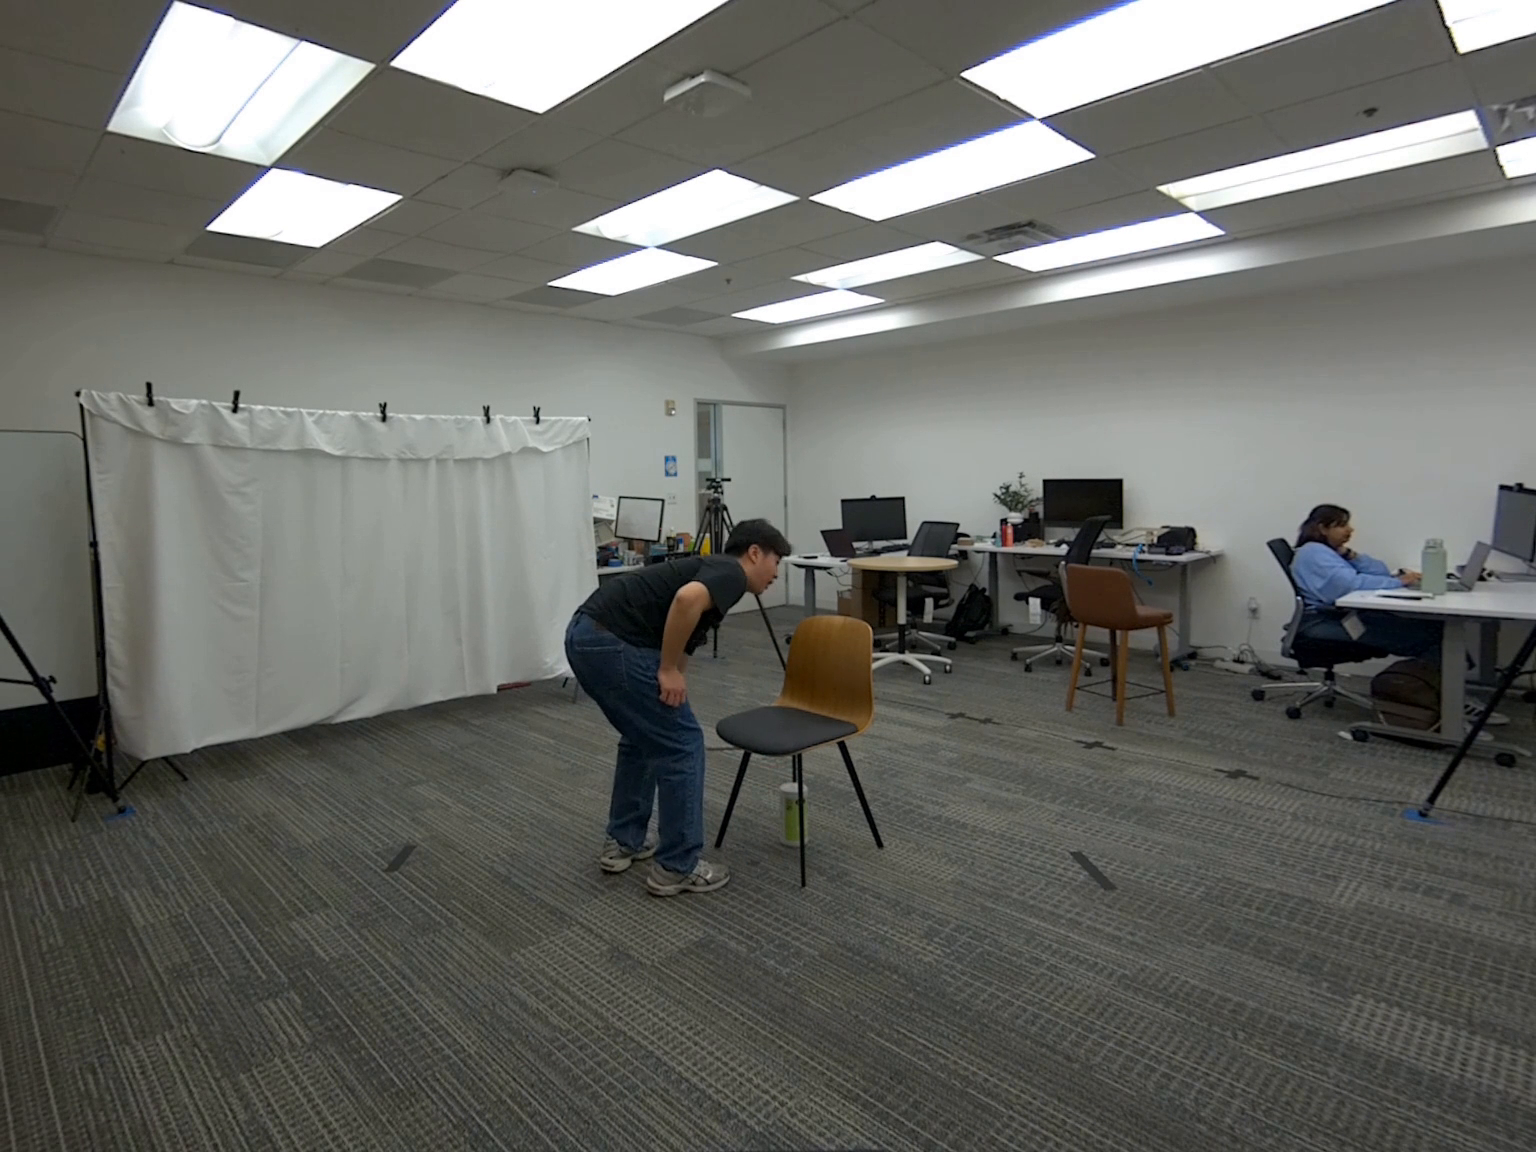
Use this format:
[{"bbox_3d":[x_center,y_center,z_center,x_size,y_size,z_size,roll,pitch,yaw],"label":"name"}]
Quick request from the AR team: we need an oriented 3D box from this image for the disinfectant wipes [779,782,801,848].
[{"bbox_3d":[0.102,0.917,3.281,0.118,0.217,0.118,2,4,-2],"label":"disinfectant wipes"}]
